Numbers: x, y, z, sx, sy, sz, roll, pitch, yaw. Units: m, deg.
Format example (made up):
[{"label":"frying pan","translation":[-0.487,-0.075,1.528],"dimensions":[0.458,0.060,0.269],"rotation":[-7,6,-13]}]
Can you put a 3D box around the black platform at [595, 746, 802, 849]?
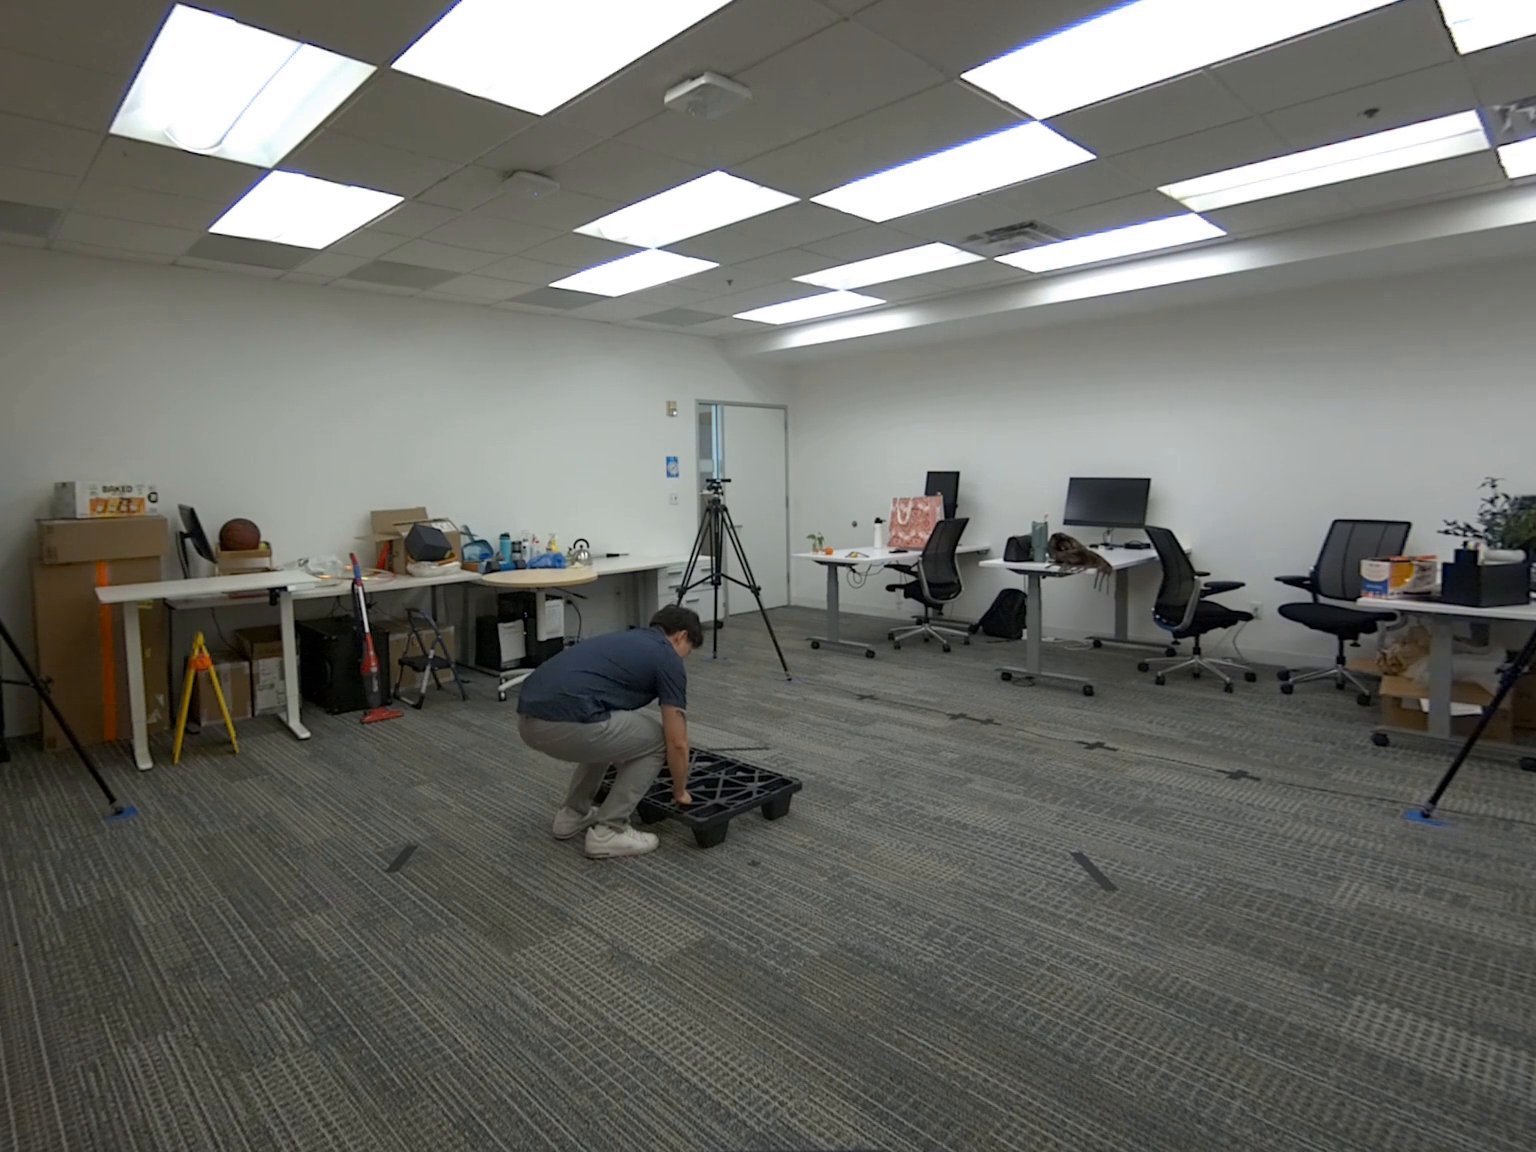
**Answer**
[{"label":"black platform","translation":[-0.338,0.918,3.656],"dimensions":[0.830,0.143,0.589],"rotation":[5,8,44]}]
